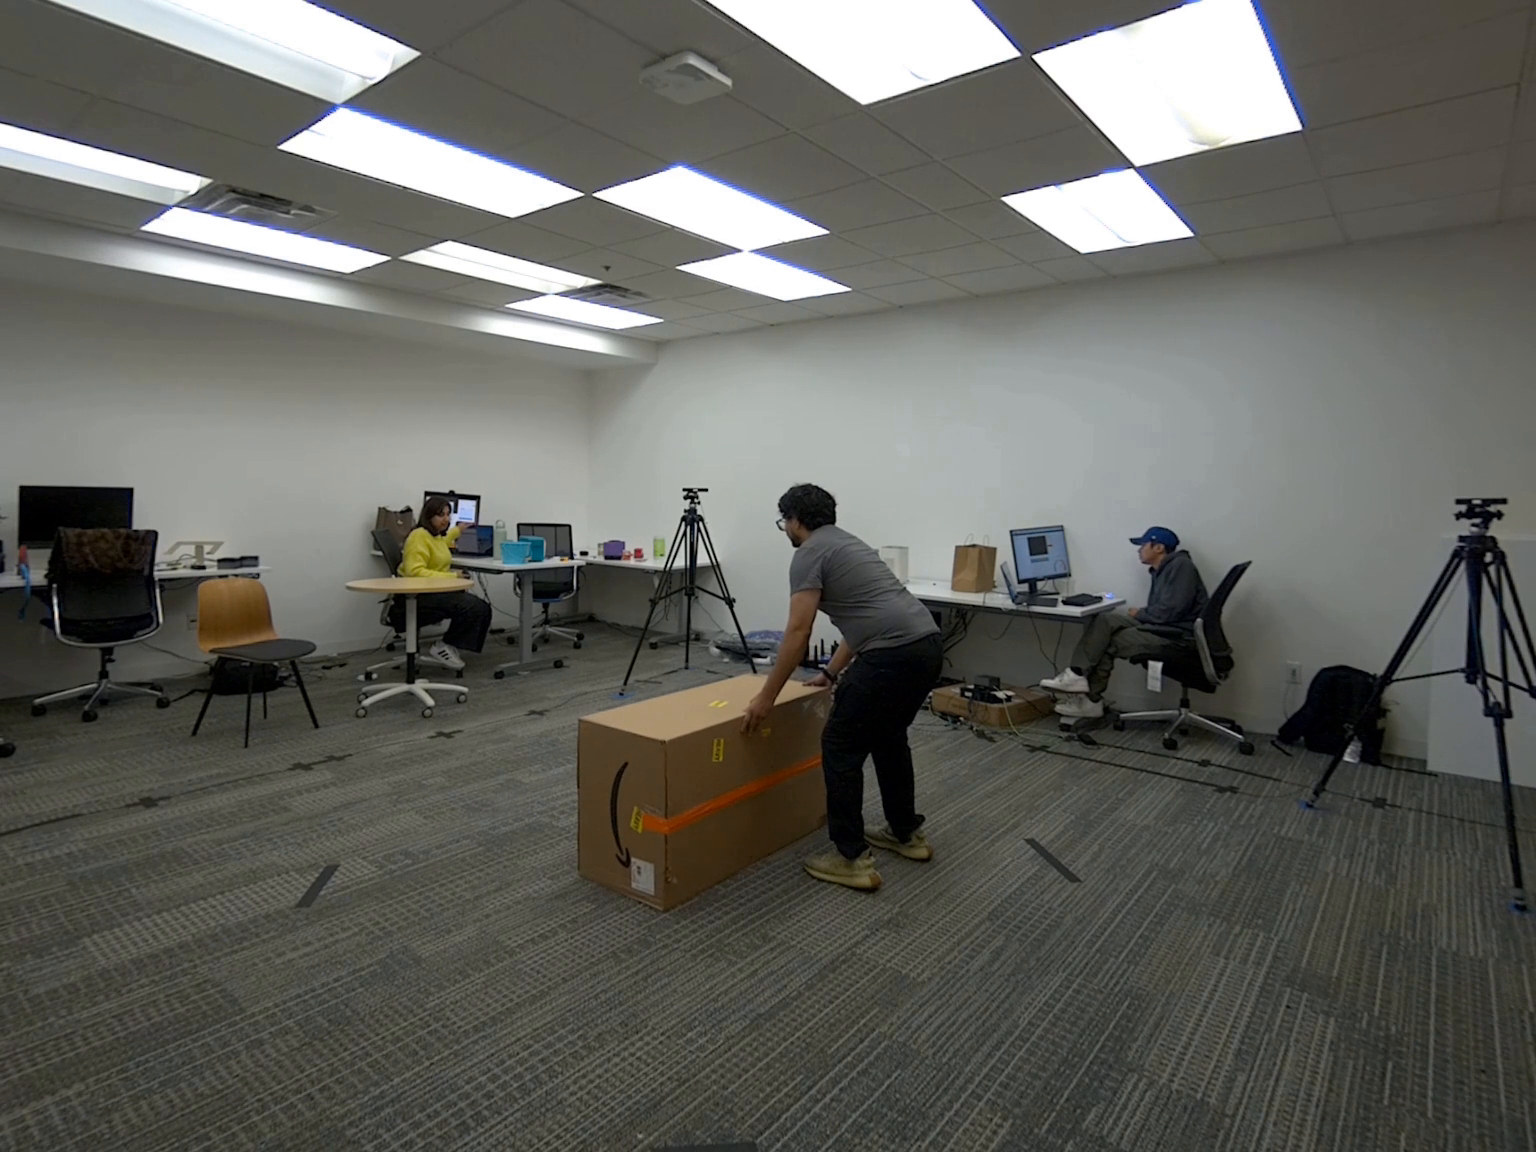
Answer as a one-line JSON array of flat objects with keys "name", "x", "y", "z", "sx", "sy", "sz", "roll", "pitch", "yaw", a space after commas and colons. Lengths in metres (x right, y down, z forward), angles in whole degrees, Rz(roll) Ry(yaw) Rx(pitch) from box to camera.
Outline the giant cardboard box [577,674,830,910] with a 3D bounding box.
[{"name": "giant cardboard box", "x": -0.219, "y": 0.766, "z": 3.288, "sx": 0.440, "sy": 0.576, "sz": 0.996, "roll": 4, "pitch": 5, "yaw": 37}]
